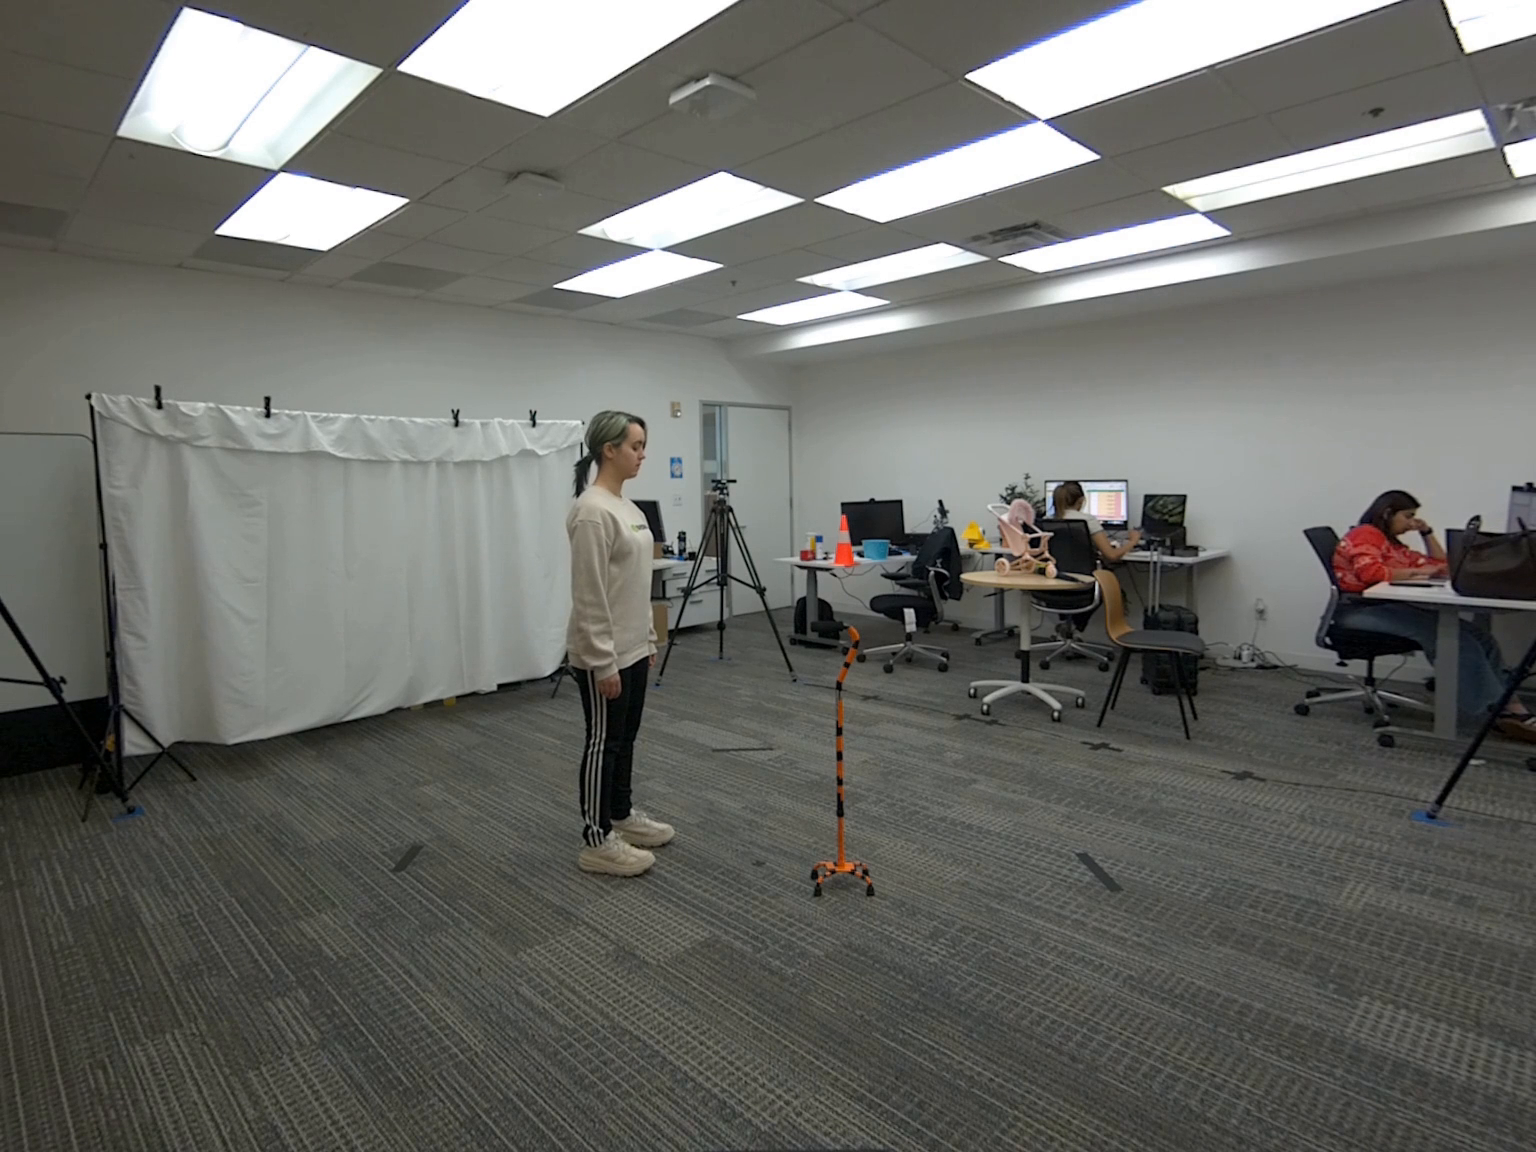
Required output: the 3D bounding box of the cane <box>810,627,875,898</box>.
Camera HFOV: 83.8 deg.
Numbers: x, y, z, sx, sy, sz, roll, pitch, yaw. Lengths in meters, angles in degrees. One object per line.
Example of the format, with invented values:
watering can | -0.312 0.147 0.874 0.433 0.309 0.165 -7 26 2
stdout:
cane | 0.251 0.604 2.899 0.206 0.905 0.152 -1 3 0
